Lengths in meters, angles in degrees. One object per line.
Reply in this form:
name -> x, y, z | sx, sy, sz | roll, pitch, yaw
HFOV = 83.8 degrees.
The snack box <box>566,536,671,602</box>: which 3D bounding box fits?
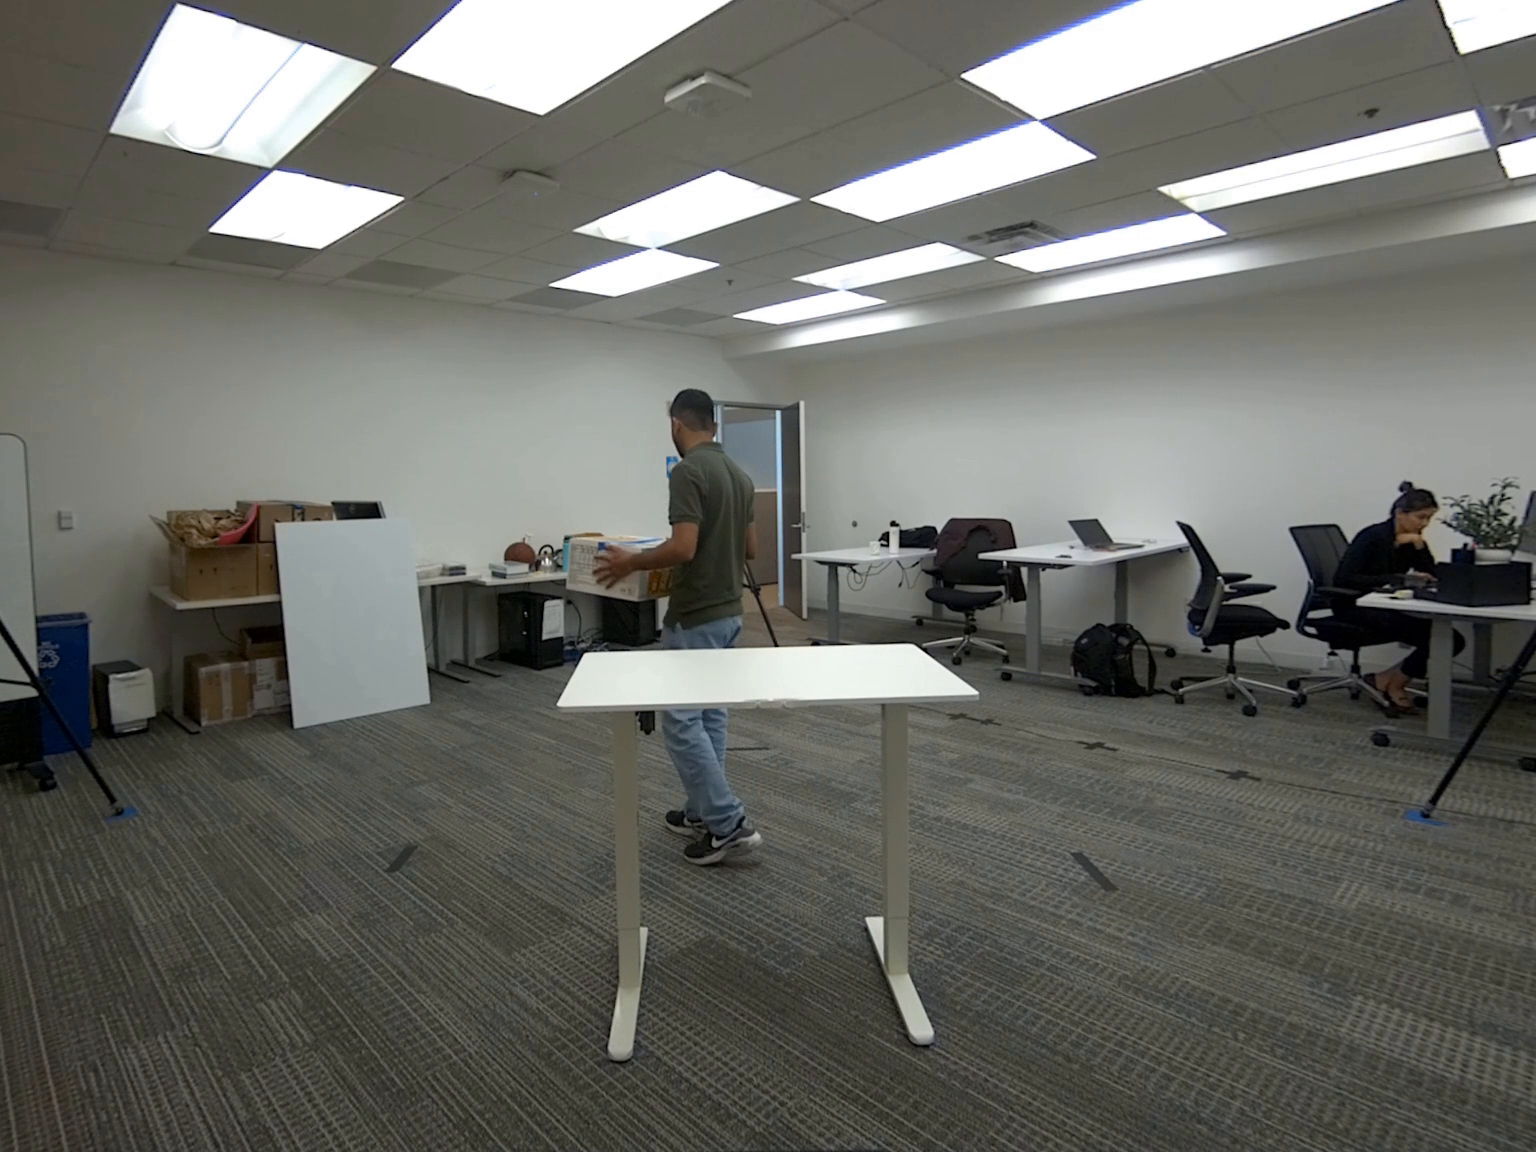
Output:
snack box -> -0.532, -0.040, 3.393 | 0.349, 0.205, 0.397 | 7, 7, 25
